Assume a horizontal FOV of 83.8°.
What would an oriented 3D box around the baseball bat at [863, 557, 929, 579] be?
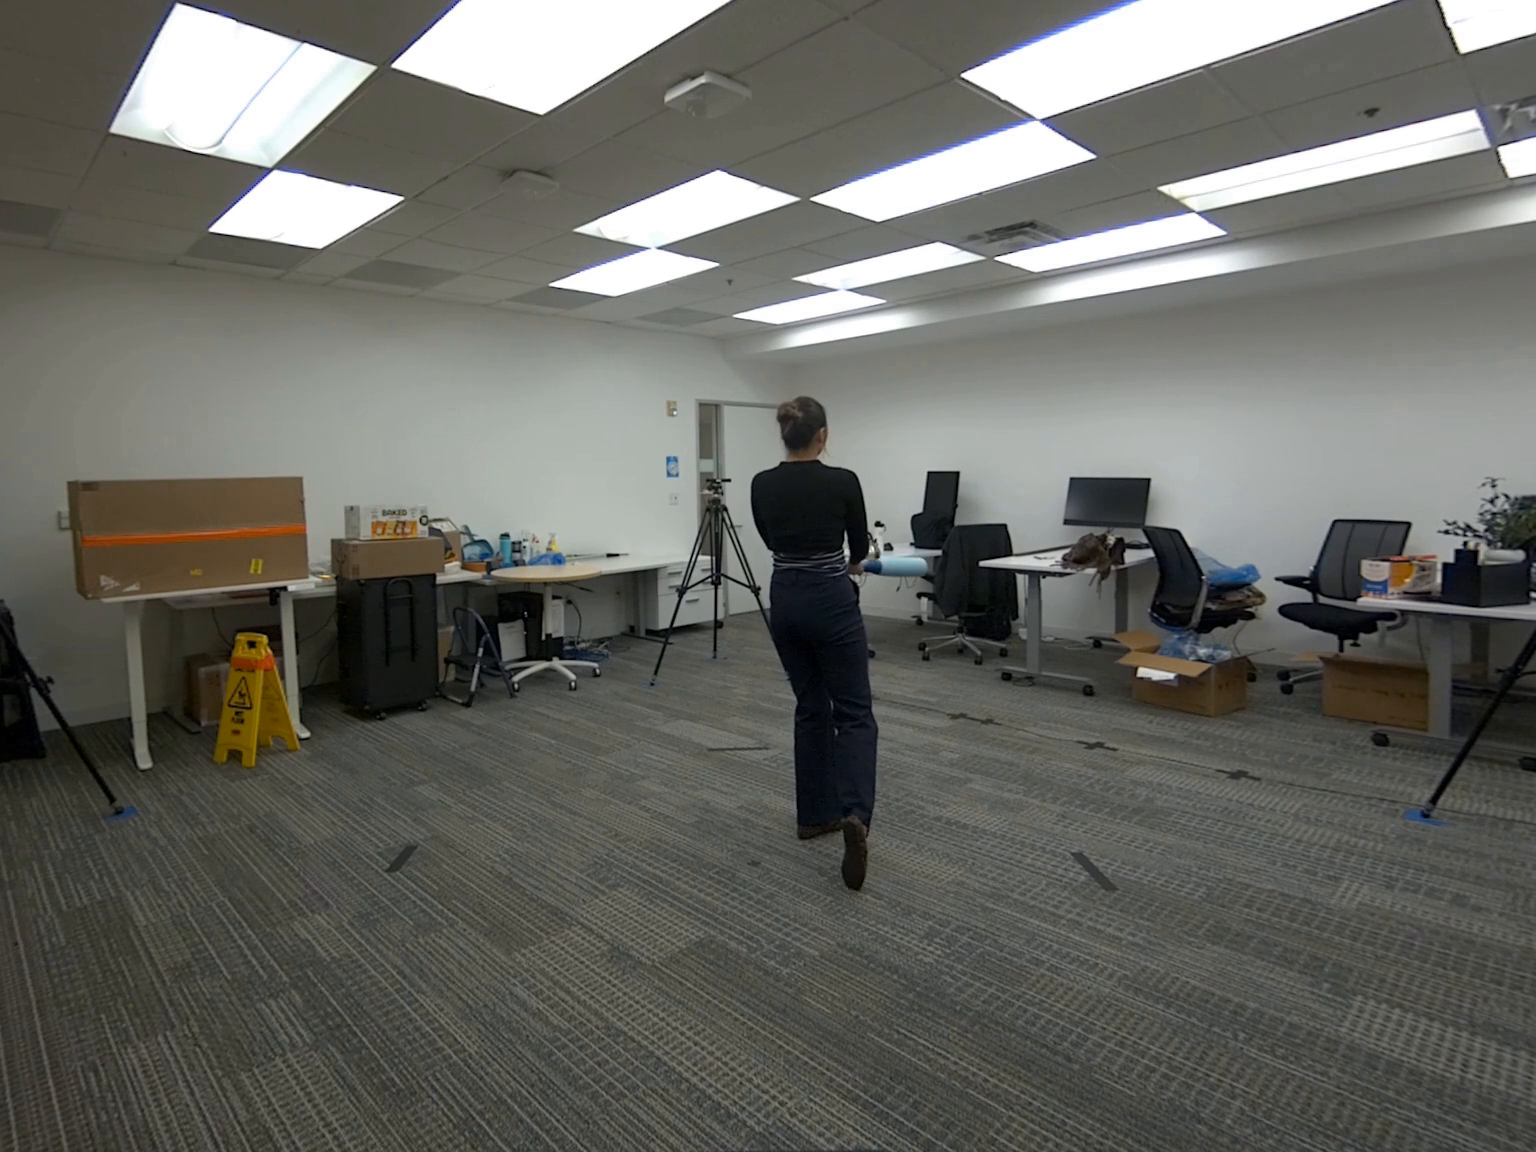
[{"bbox_3d":[0.448,-0.034,3.745,0.531,0.089,0.091,0,4,-24],"label":"baseball bat"}]
